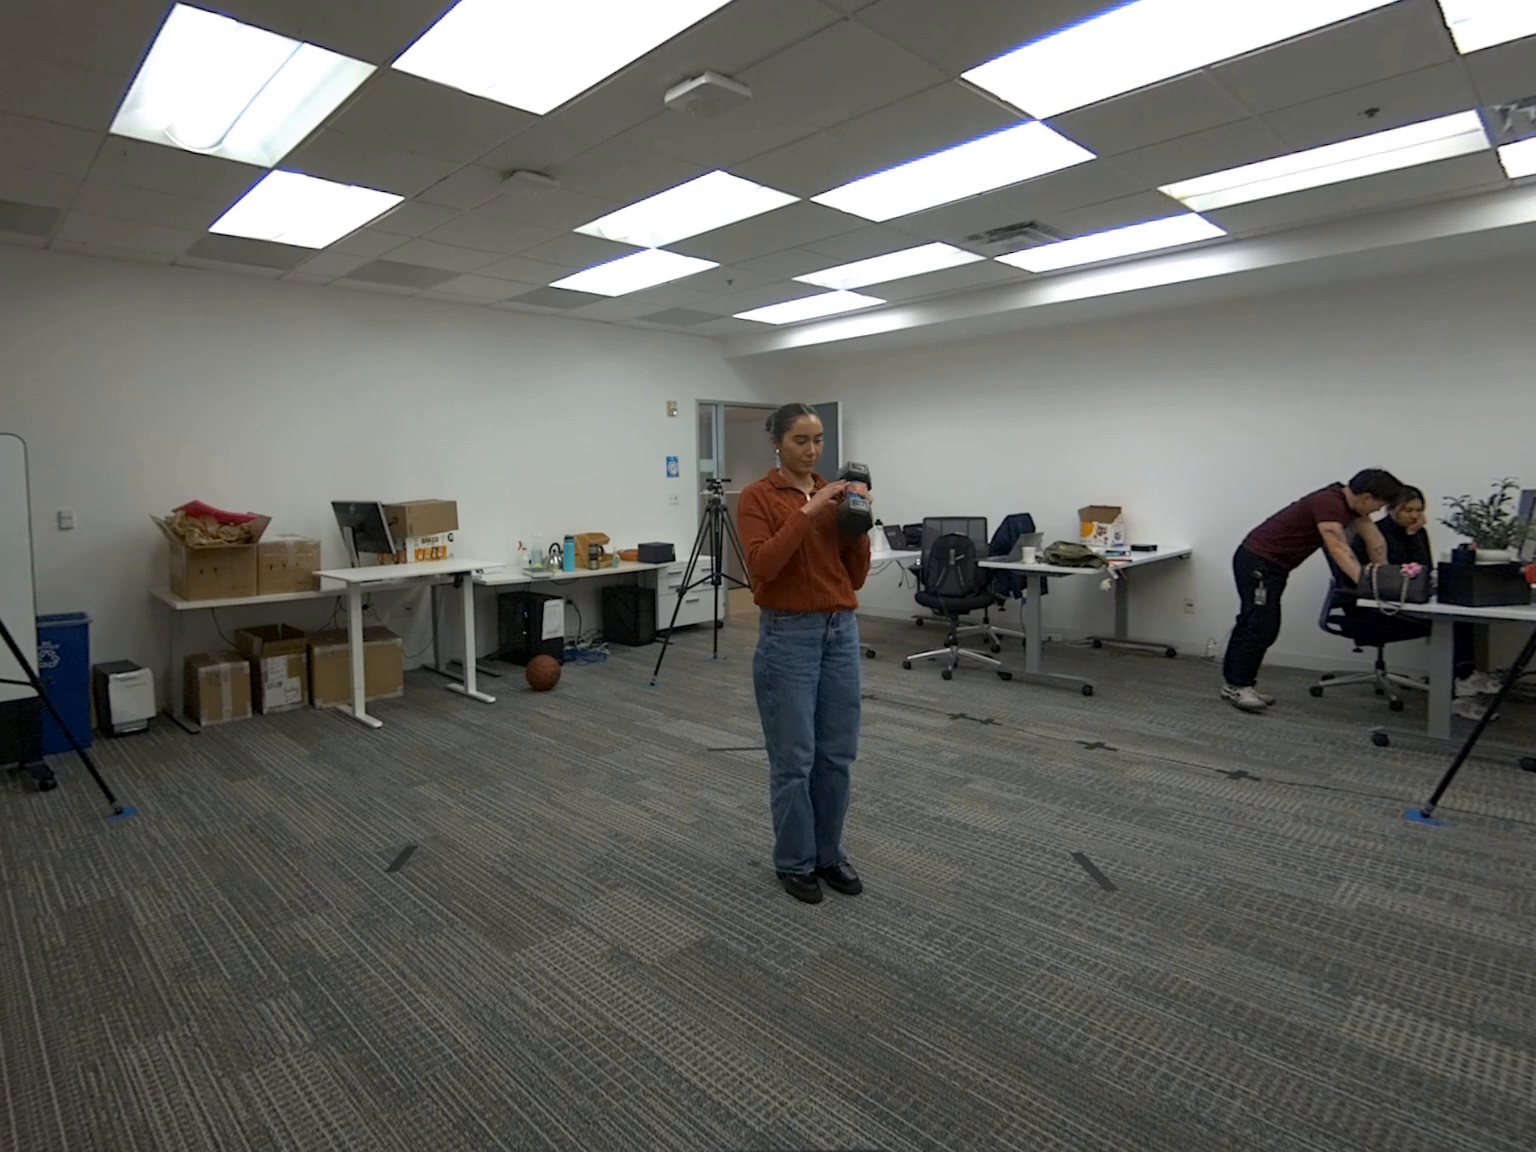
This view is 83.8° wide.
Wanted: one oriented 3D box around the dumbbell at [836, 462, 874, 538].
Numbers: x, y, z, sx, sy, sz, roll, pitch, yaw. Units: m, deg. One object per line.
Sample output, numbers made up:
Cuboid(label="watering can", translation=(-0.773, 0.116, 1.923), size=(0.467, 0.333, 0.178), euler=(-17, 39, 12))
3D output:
Cuboid(label="dumbbell", translation=(0.285, -0.251, 2.806), size=(0.110, 0.119, 0.300), euler=(-14, 38, 17))
